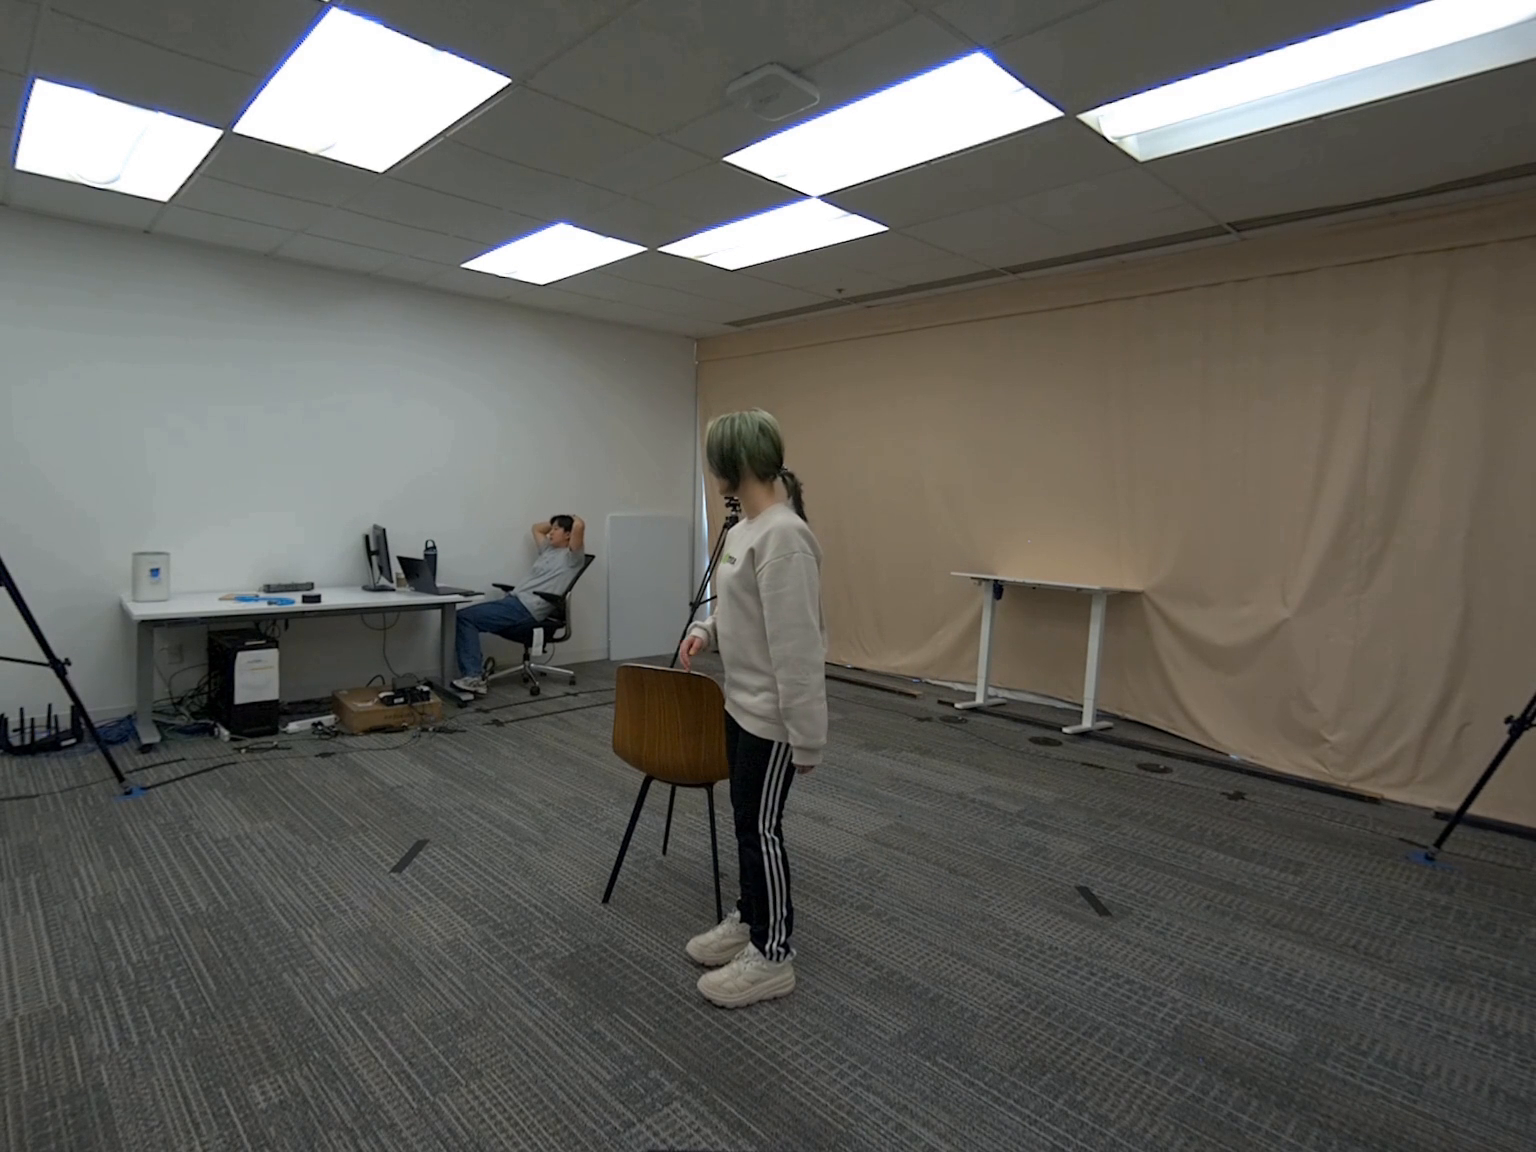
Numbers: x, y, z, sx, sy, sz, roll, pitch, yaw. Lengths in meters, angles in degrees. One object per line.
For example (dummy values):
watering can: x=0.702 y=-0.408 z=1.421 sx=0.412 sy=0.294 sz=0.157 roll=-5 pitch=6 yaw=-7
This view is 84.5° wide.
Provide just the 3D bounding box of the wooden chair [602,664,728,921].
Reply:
wooden chair: x=-0.269 y=0.686 z=2.965 sx=0.487 sy=0.872 sz=0.516 roll=3 pitch=8 yaw=22
